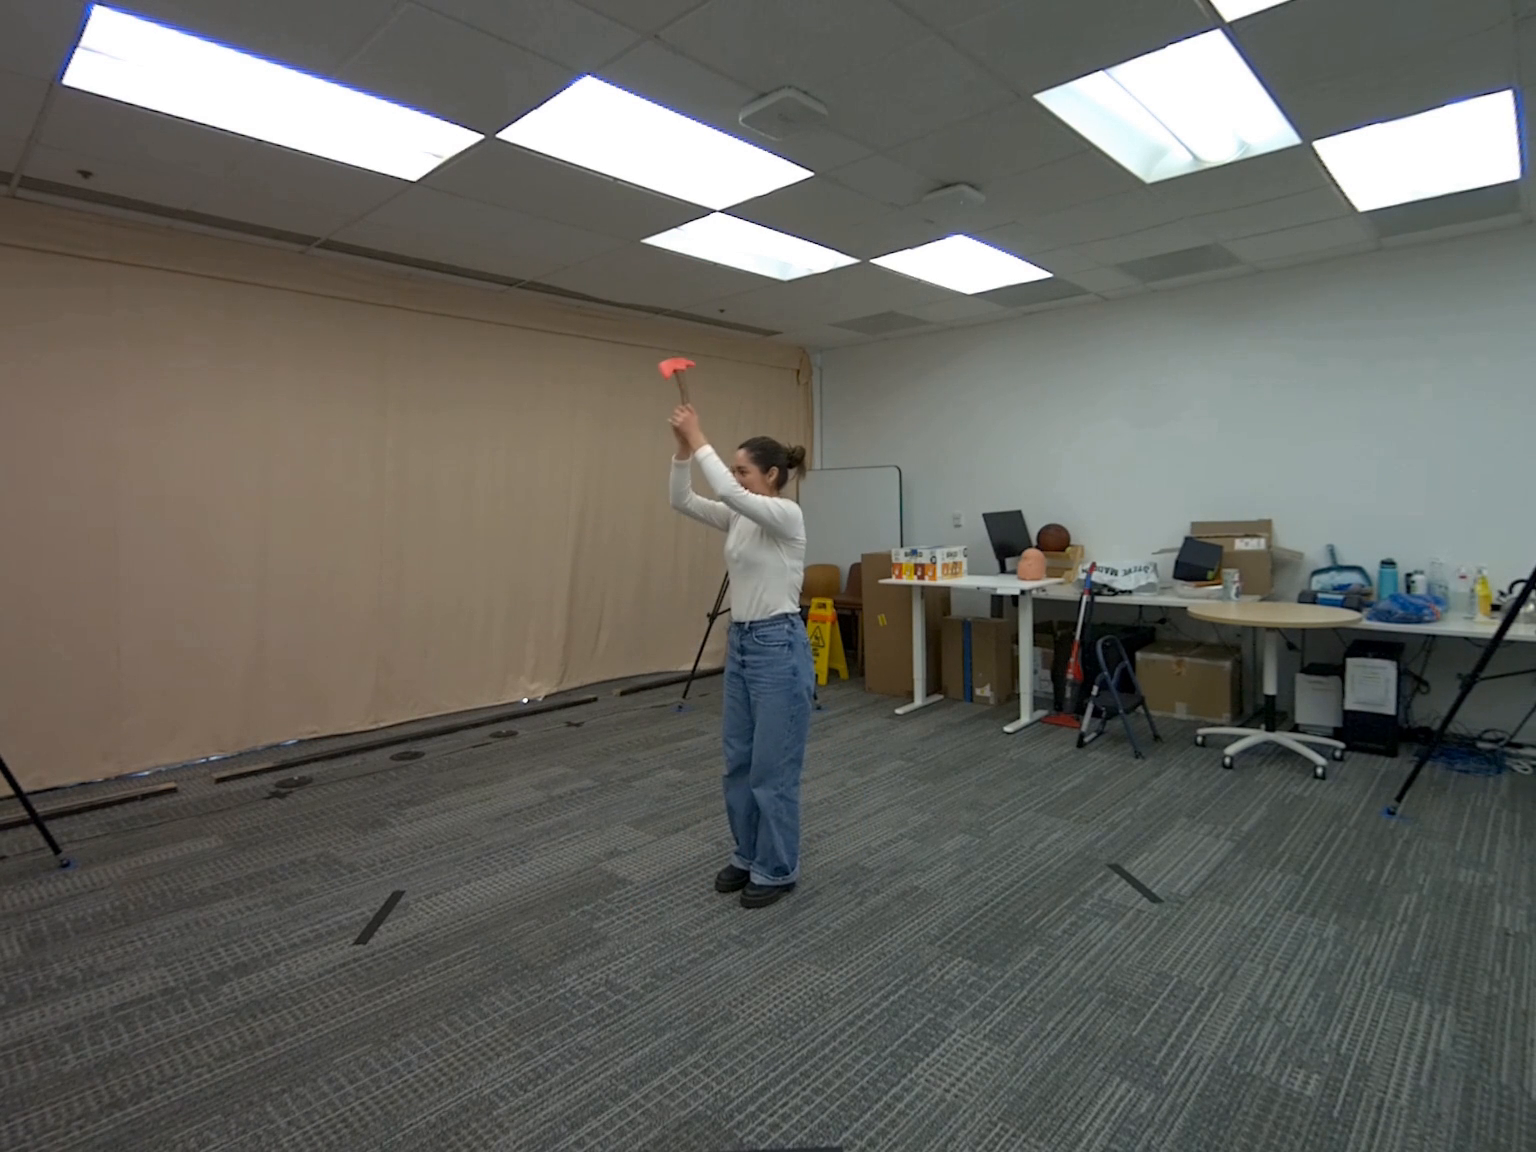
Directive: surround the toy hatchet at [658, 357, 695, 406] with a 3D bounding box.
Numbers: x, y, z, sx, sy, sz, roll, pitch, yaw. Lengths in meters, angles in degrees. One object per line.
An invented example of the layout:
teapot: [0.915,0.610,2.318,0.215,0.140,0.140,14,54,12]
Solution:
toy hatchet: [-0.309,-0.582,2.836,0.128,0.272,0.030,10,-18,-21]
